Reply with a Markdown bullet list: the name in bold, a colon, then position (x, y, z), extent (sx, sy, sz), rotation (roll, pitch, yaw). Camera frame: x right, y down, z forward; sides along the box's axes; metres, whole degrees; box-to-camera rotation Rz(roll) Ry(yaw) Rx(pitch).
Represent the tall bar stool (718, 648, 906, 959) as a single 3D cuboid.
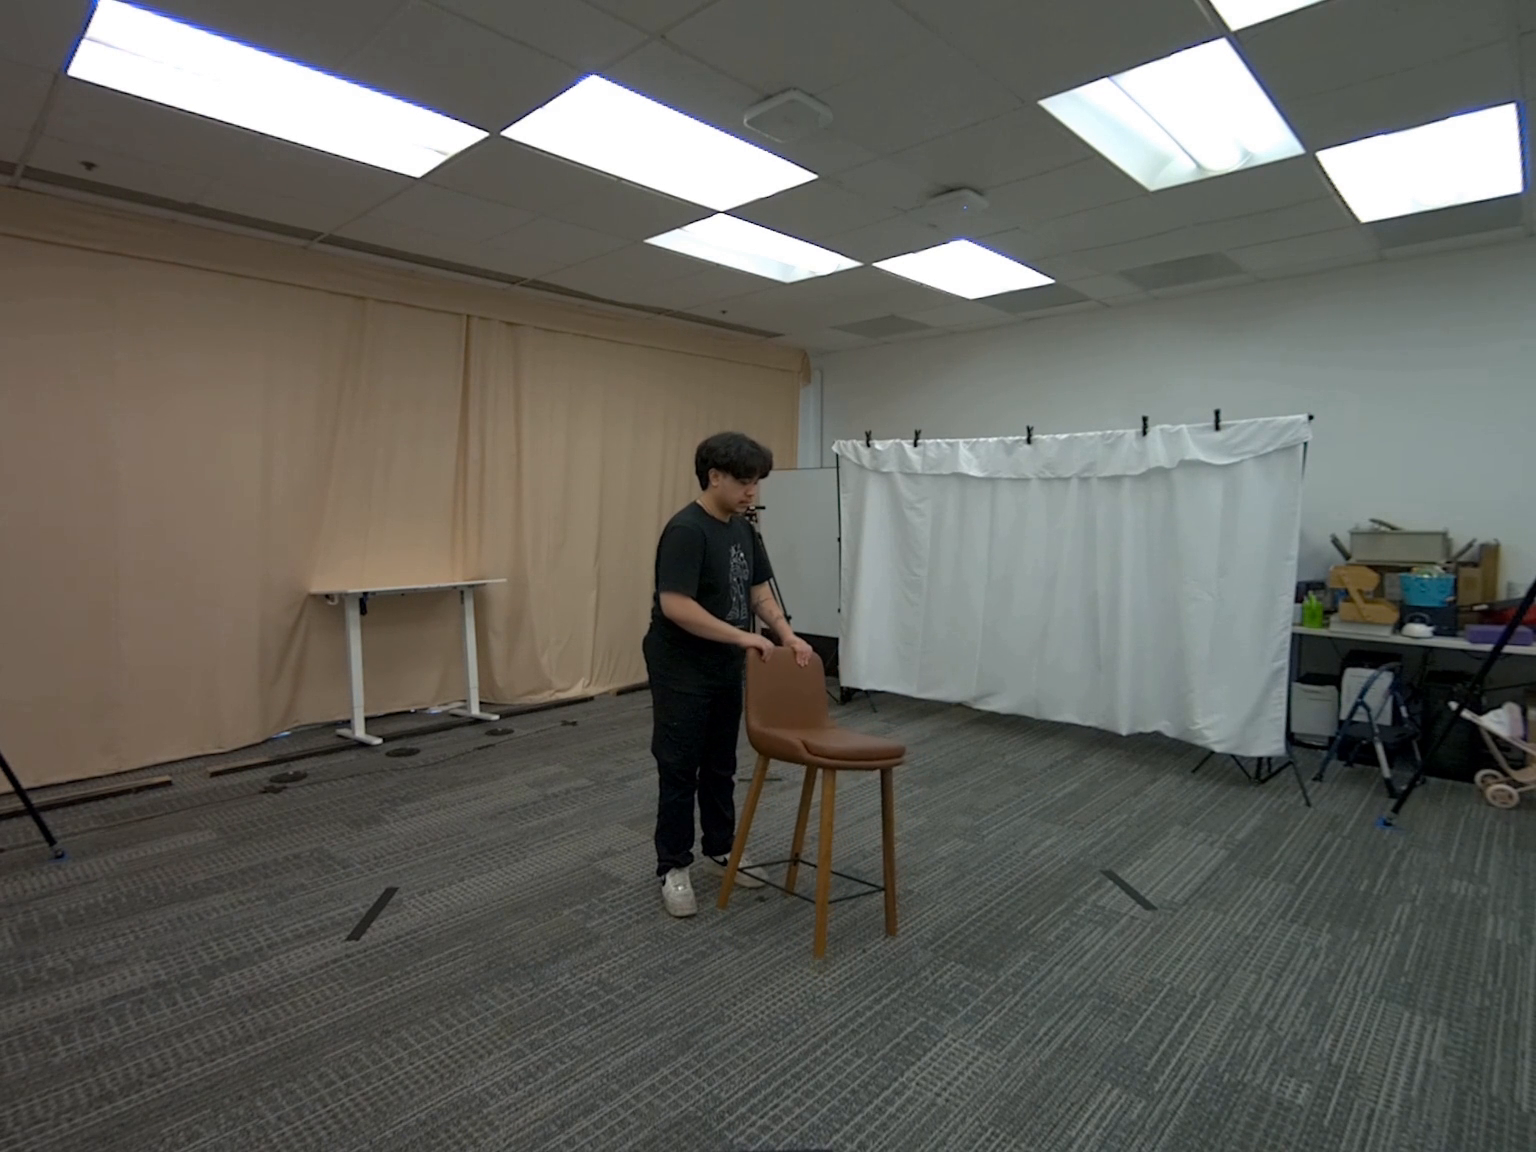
- **tall bar stool**: position (0.168, 0.701, 2.778), extent (0.483, 0.892, 0.440), rotation (0, -8, 44)
